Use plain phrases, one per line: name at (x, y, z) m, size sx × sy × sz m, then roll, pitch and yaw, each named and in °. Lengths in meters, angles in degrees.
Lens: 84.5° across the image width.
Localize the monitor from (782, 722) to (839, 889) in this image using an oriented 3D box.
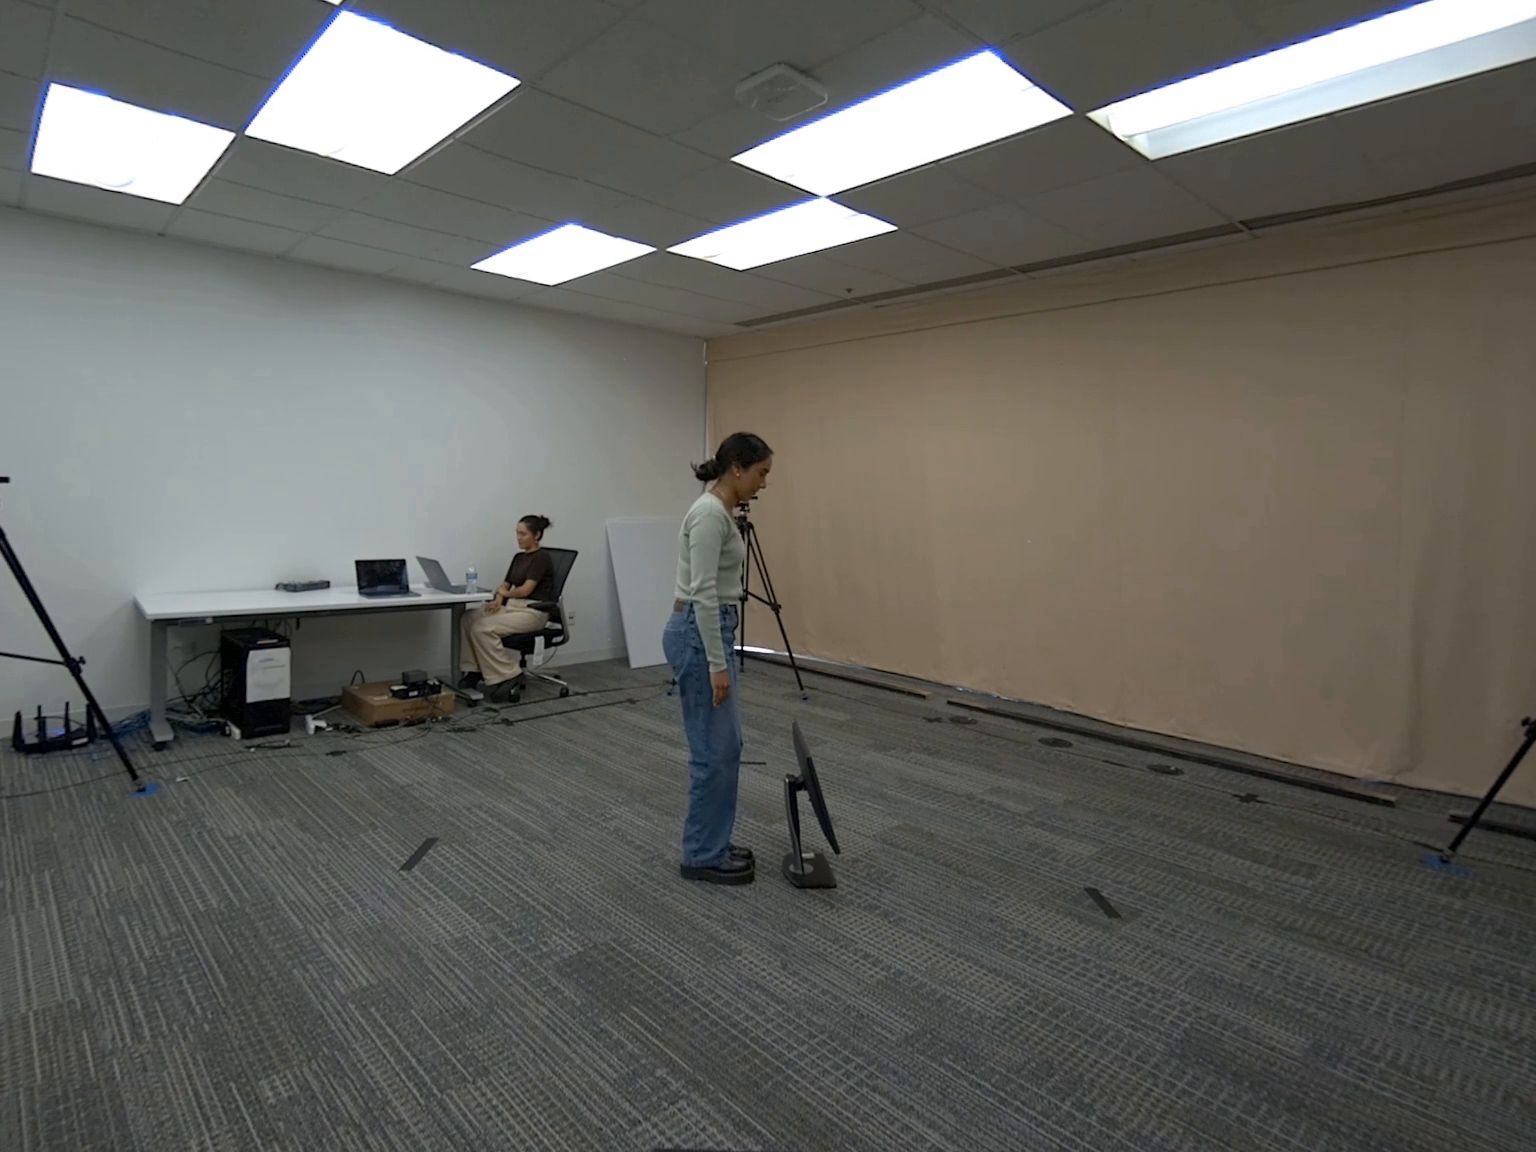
monitor at (0.131, 0.850, 3.126) m, size 0.174 × 0.515 × 0.533 m, roll 2°, pitch 4°, yaw -5°
